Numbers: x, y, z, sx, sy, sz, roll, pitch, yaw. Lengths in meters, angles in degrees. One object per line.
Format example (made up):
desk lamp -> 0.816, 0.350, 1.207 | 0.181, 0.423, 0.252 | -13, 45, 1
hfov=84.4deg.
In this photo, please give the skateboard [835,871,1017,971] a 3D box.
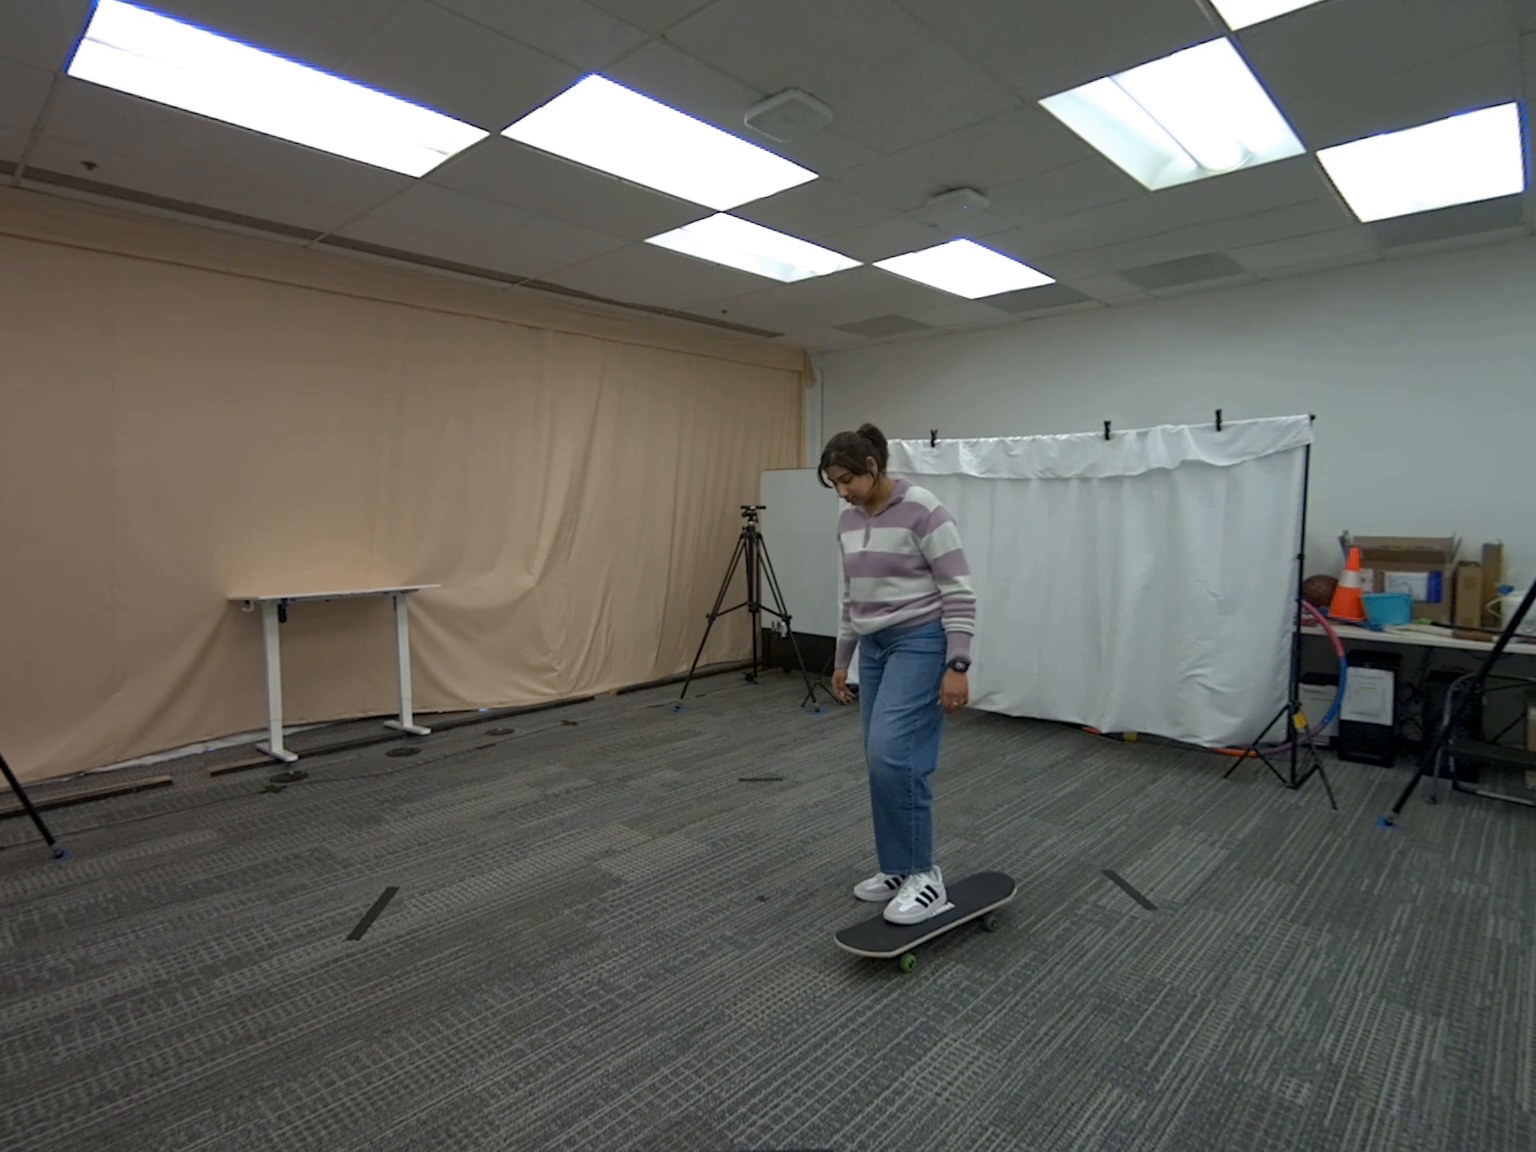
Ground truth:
skateboard -> 0.529, 1.111, 2.691 | 0.762, 0.110, 0.199 | -4, 3, -36
